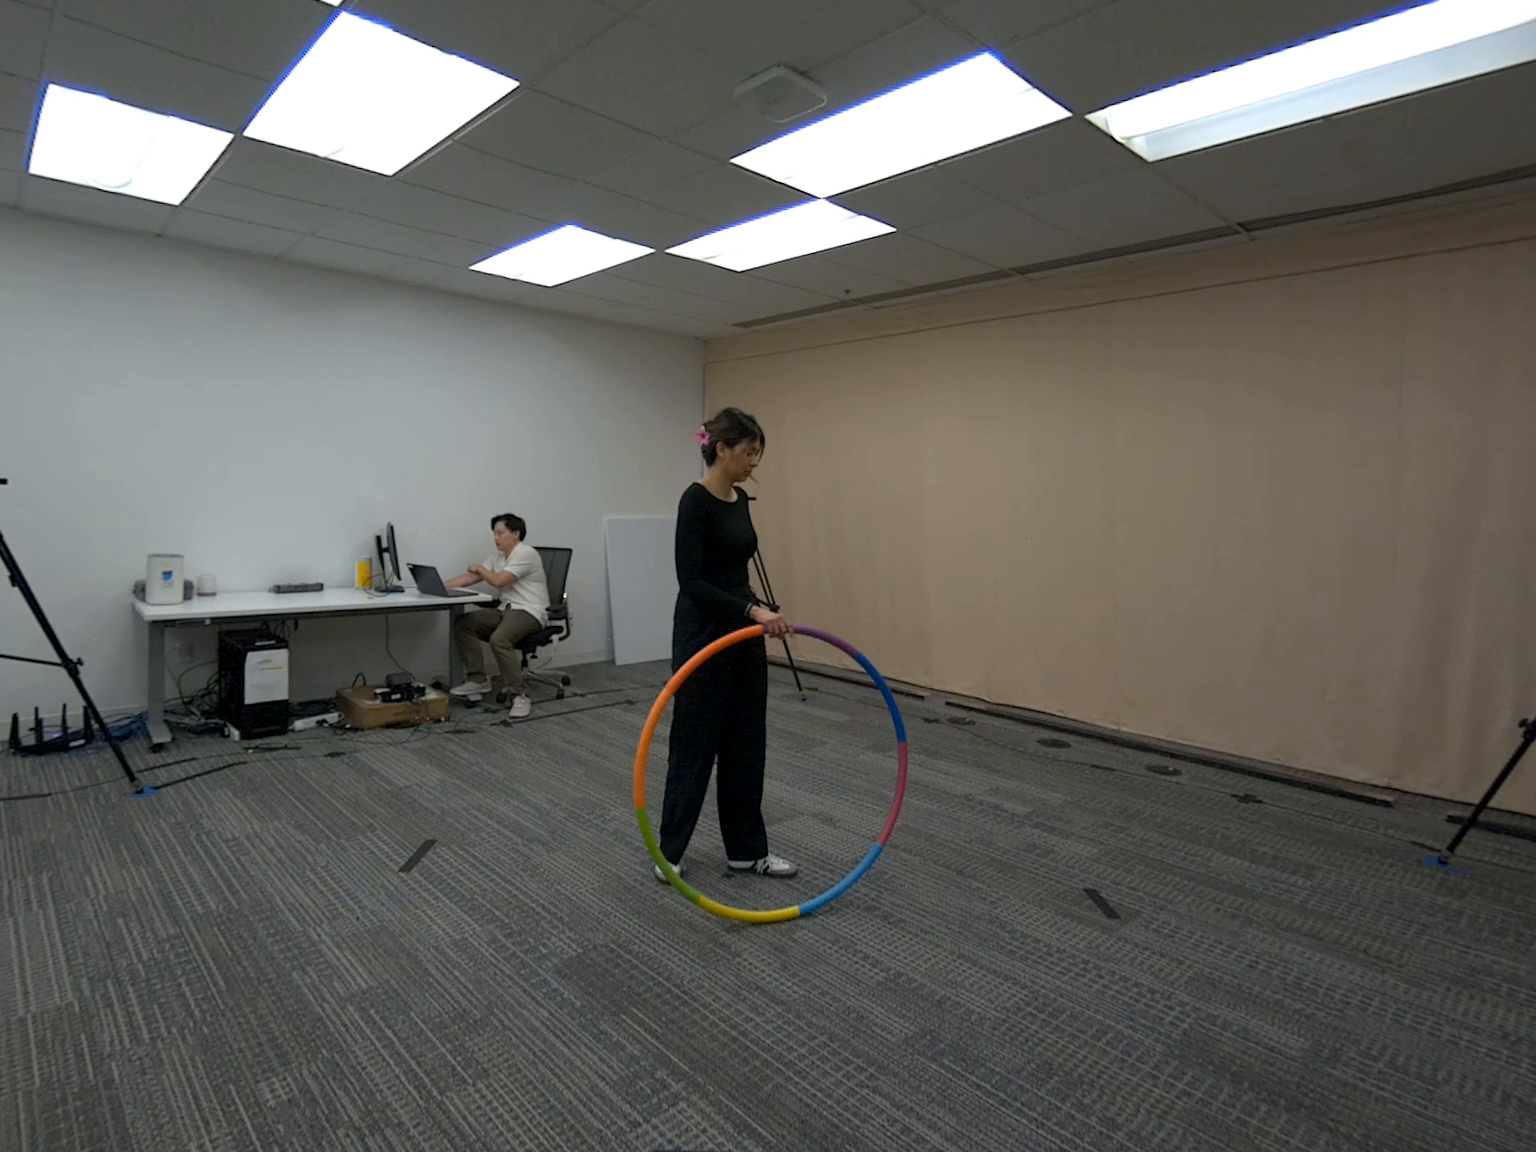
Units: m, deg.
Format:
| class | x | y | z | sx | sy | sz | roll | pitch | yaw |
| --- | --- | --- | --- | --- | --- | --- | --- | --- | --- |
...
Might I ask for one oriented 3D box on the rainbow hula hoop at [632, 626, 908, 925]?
| class | x | y | z | sx | sy | sz | roll | pitch | yaw |
| --- | --- | --- | --- | --- | --- | --- | --- | --- | --- |
| rainbow hula hoop | 0.026 | 0.651 | 2.795 | 0.963 | 0.980 | 0.036 | 0 | -2 | -22 |
